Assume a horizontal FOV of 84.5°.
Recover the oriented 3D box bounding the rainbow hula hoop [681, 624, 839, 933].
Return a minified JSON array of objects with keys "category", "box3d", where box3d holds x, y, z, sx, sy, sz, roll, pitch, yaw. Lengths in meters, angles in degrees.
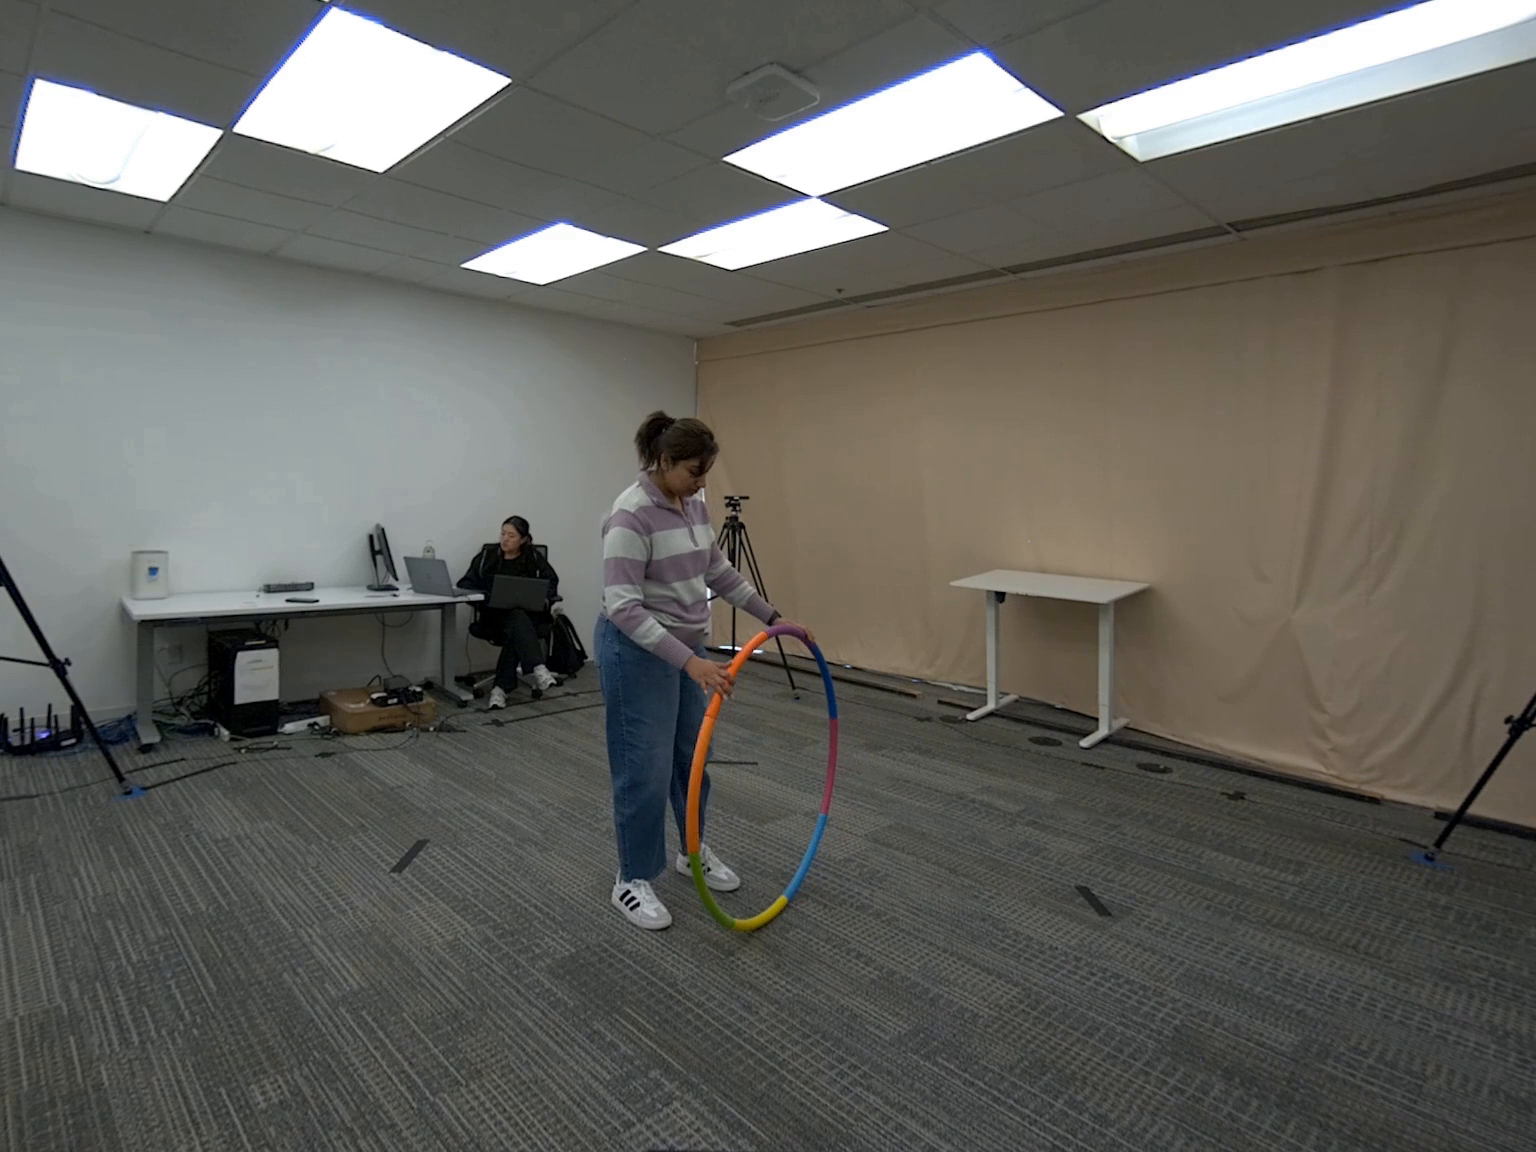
[{"category":"rainbow hula hoop","box3d":[0.014,0.651,2.771,0.053,0.983,0.967,3,5,28]}]
